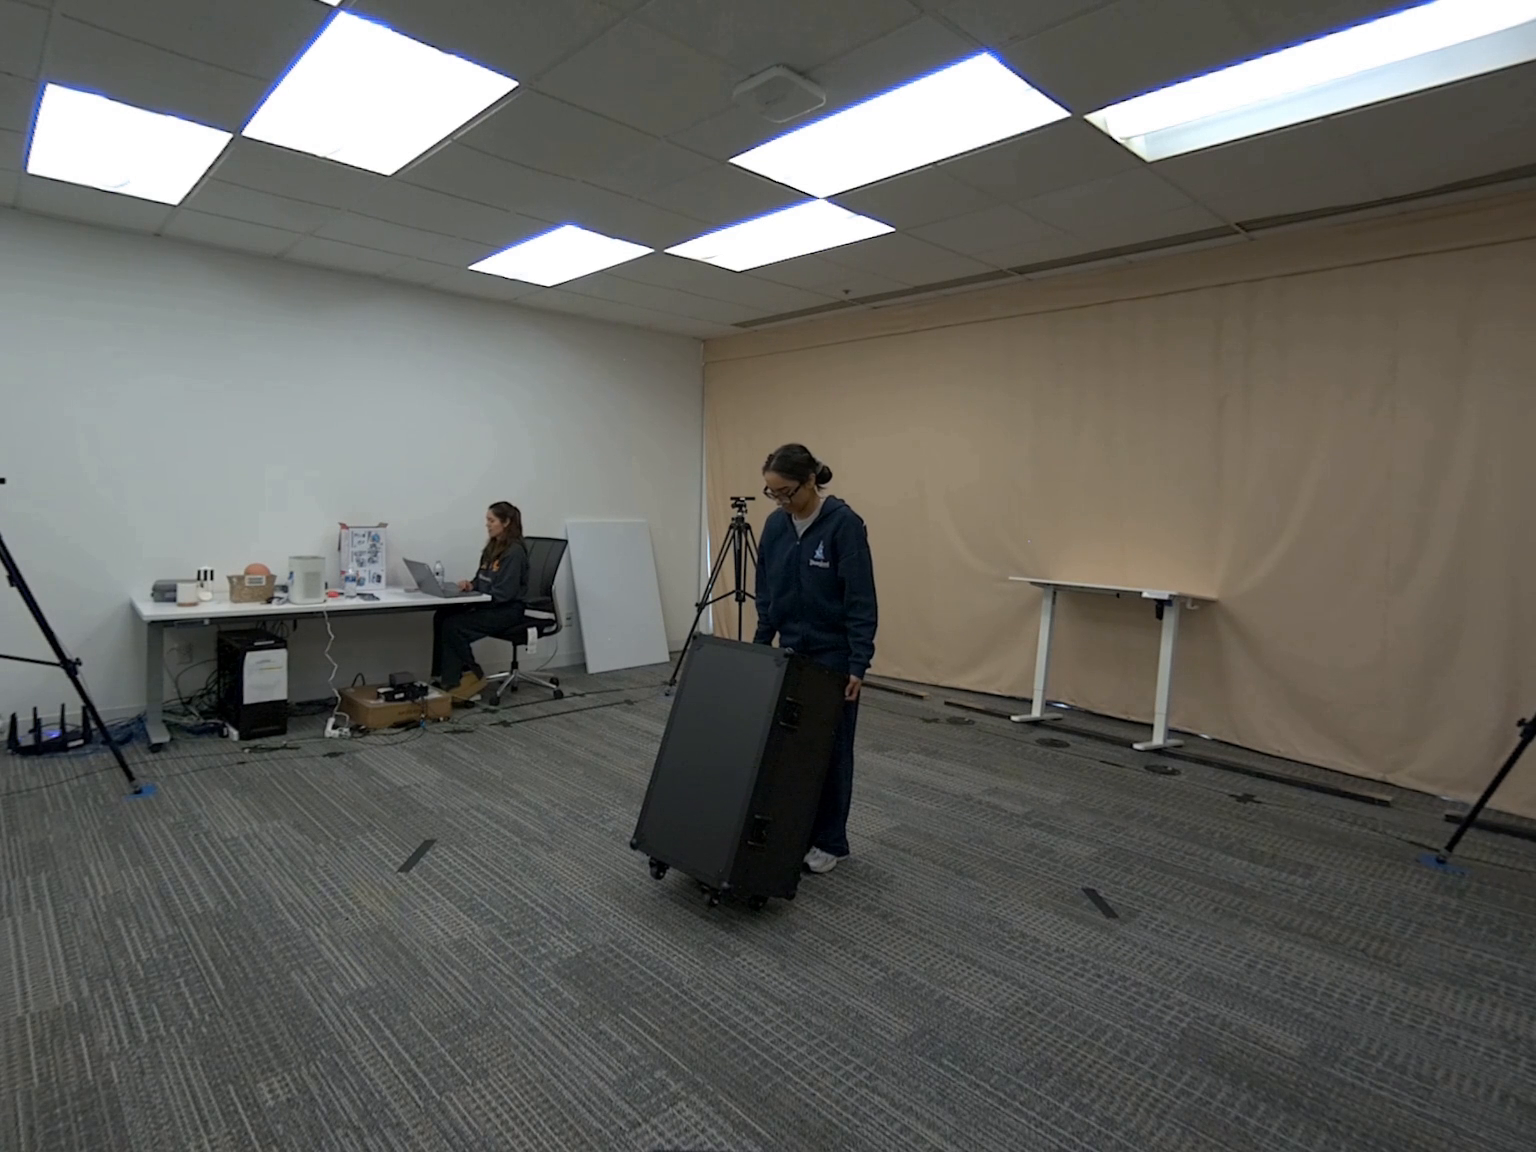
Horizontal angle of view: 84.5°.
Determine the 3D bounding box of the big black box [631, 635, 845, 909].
[{"bbox_3d":[-0.107,0.687,2.967,0.534,0.867,0.384,4,-17,42],"label":"big black box"}]
